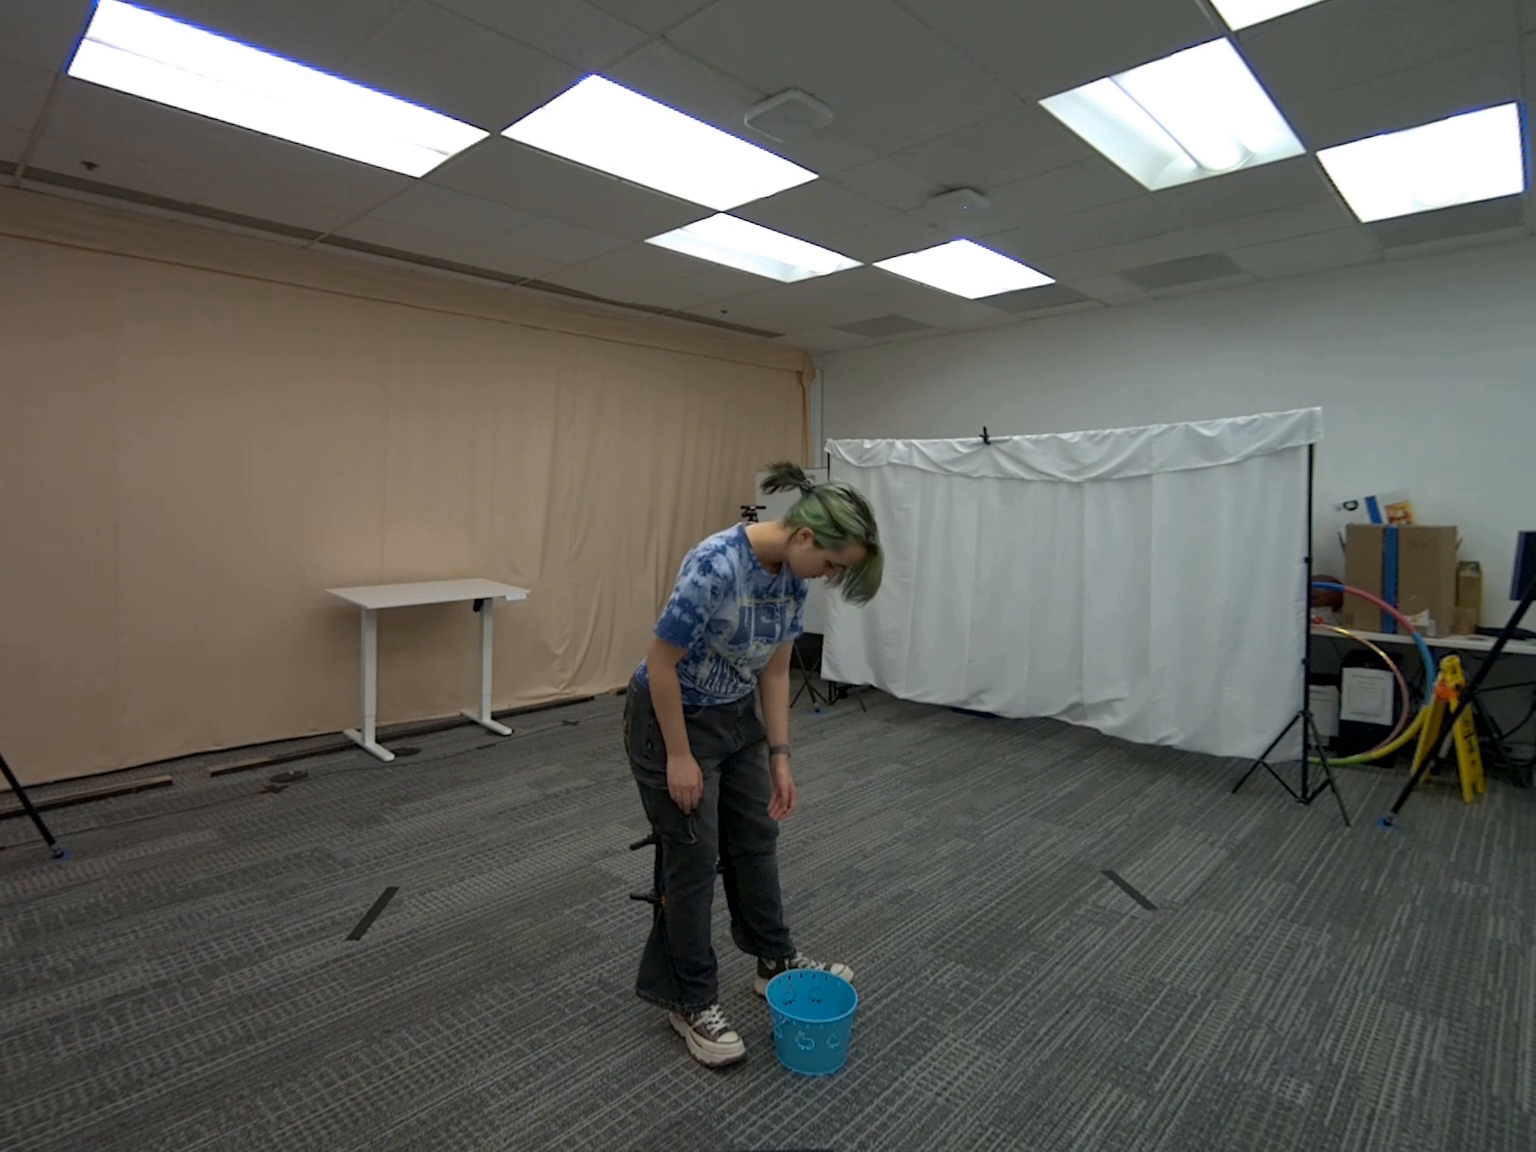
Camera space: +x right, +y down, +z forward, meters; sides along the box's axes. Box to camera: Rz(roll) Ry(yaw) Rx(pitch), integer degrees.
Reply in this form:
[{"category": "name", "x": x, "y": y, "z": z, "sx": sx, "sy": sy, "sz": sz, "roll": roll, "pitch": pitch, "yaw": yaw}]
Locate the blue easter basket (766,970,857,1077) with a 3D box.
[{"category": "blue easter basket", "x": 0.112, "y": 1.136, "z": 2.144, "sx": 0.243, "sy": 0.155, "sz": 0.244, "roll": 1, "pitch": 4, "yaw": -2}]
